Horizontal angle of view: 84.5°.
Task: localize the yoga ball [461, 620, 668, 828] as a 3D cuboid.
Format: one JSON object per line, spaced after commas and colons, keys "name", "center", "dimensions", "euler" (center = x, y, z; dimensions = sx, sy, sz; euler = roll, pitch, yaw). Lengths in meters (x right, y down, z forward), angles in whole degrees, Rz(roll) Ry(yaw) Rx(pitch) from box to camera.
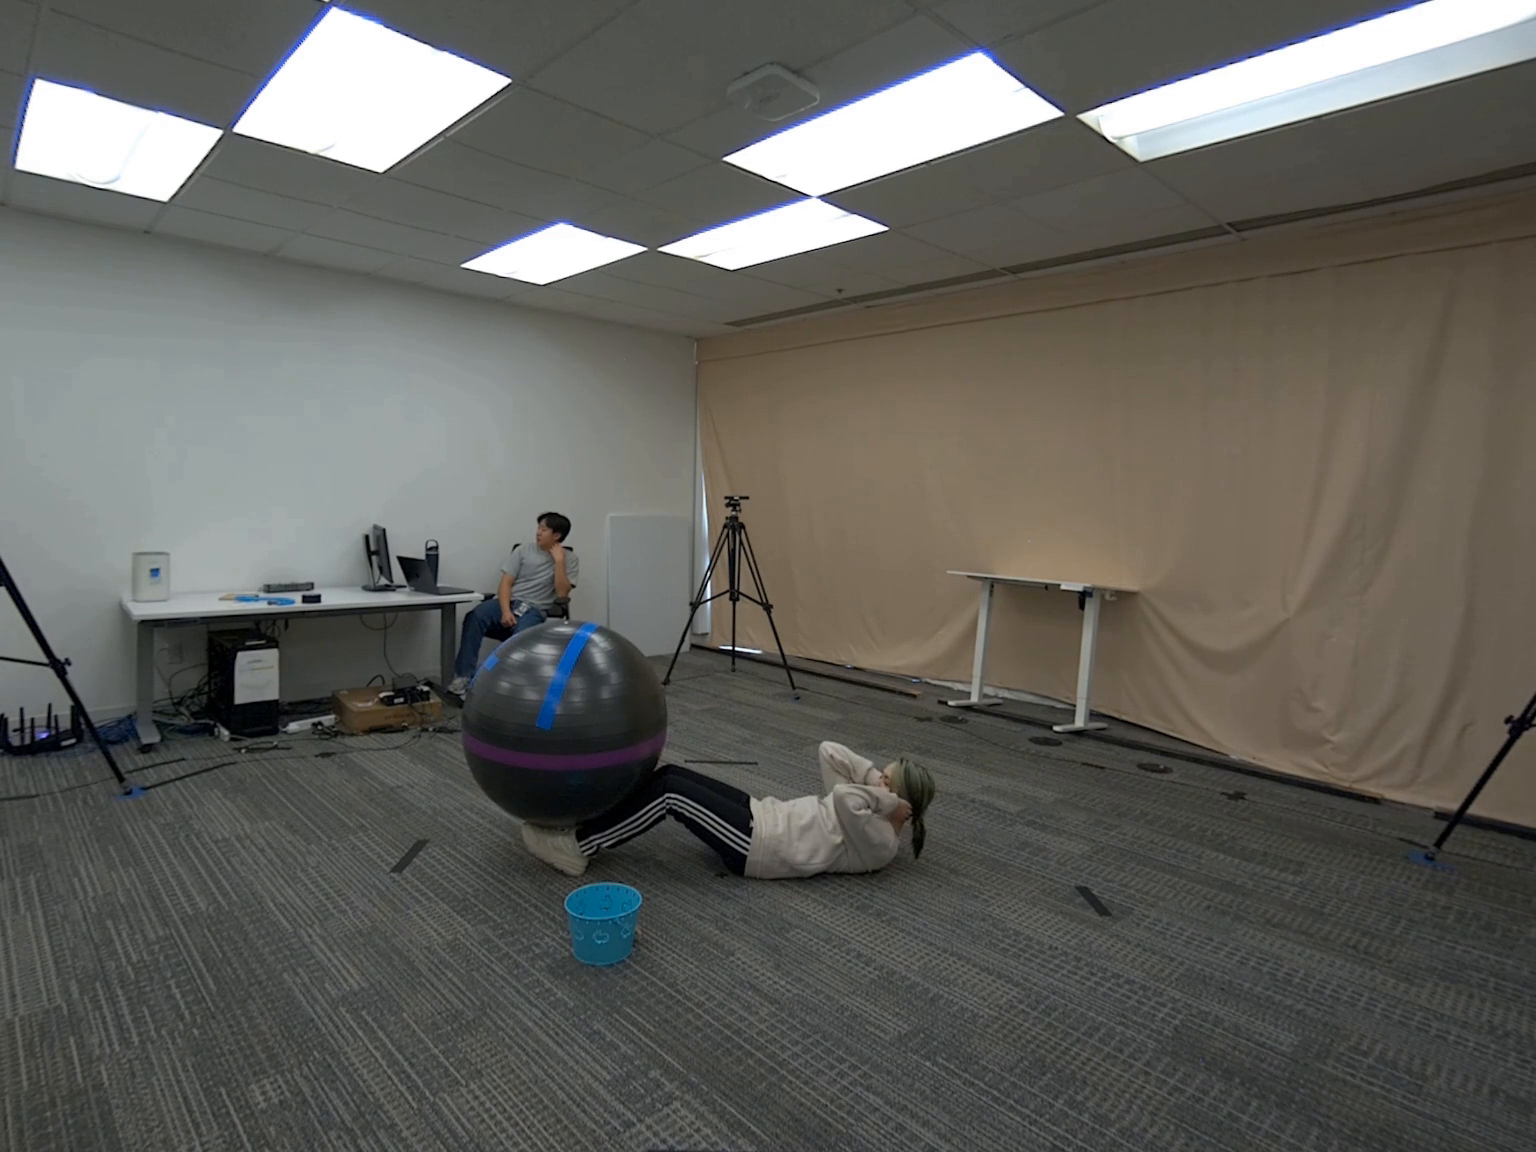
{"name": "yoga ball", "center": [-0.766, 0.547, 3.168], "dimensions": [0.757, 0.756, 0.761], "euler": [1, 4, -1]}
